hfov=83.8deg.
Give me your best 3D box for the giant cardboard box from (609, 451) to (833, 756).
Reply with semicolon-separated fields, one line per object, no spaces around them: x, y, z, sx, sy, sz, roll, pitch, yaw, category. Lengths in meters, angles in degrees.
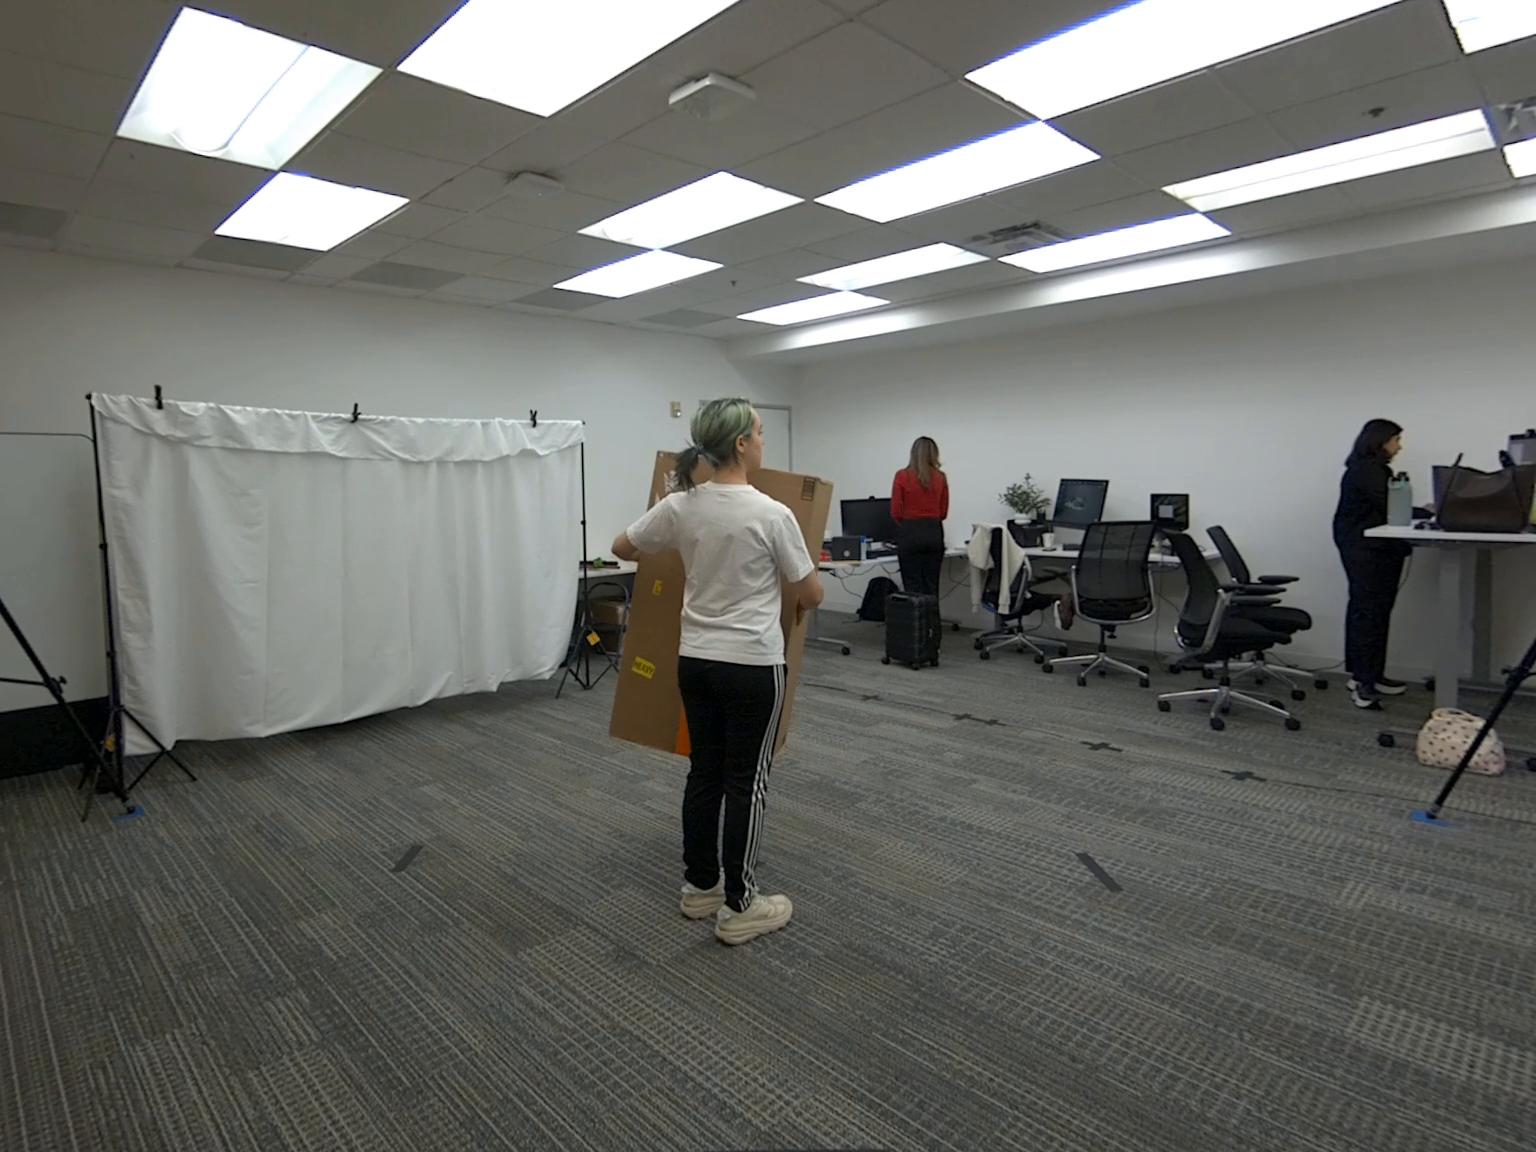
-0.152;0.110;3.114;0.587;1.023;0.420;11;3;14;giant cardboard box
